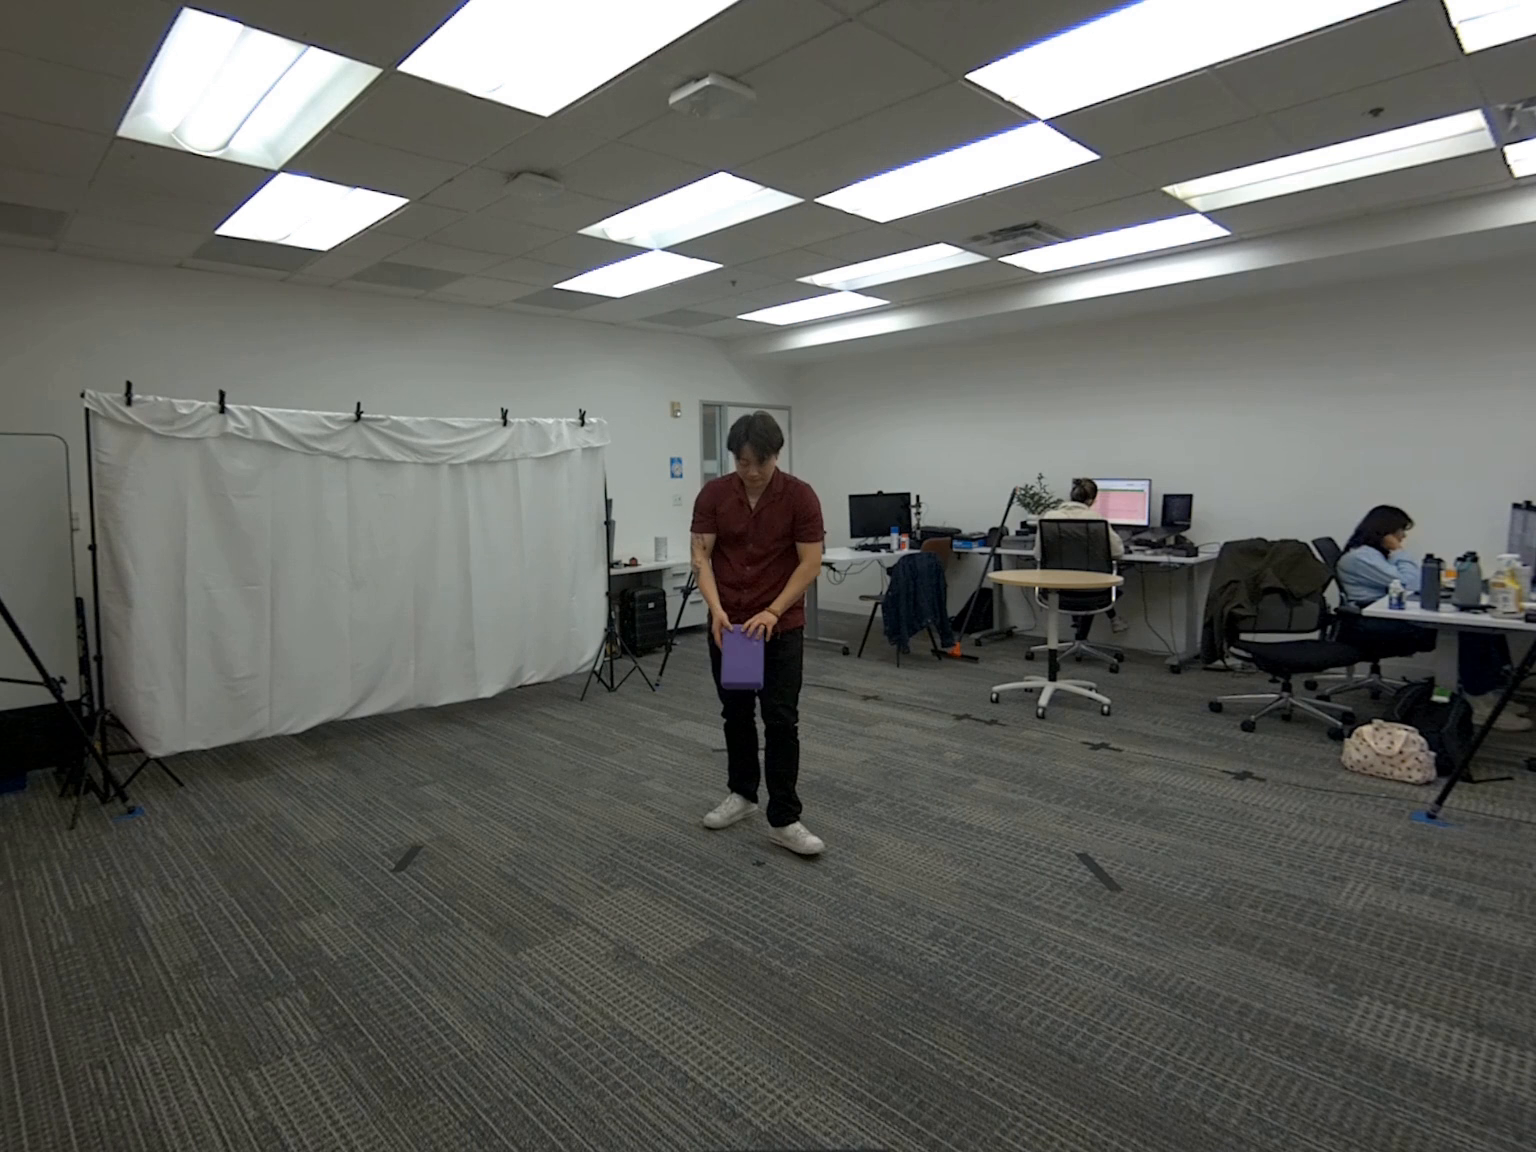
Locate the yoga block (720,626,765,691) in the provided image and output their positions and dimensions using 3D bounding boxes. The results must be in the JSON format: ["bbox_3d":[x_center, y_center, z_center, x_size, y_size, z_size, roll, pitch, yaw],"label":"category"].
[{"bbox_3d":[-0.101,0.298,3.145,0.150,0.233,0.074,1,-21,8],"label":"yoga block"}]
